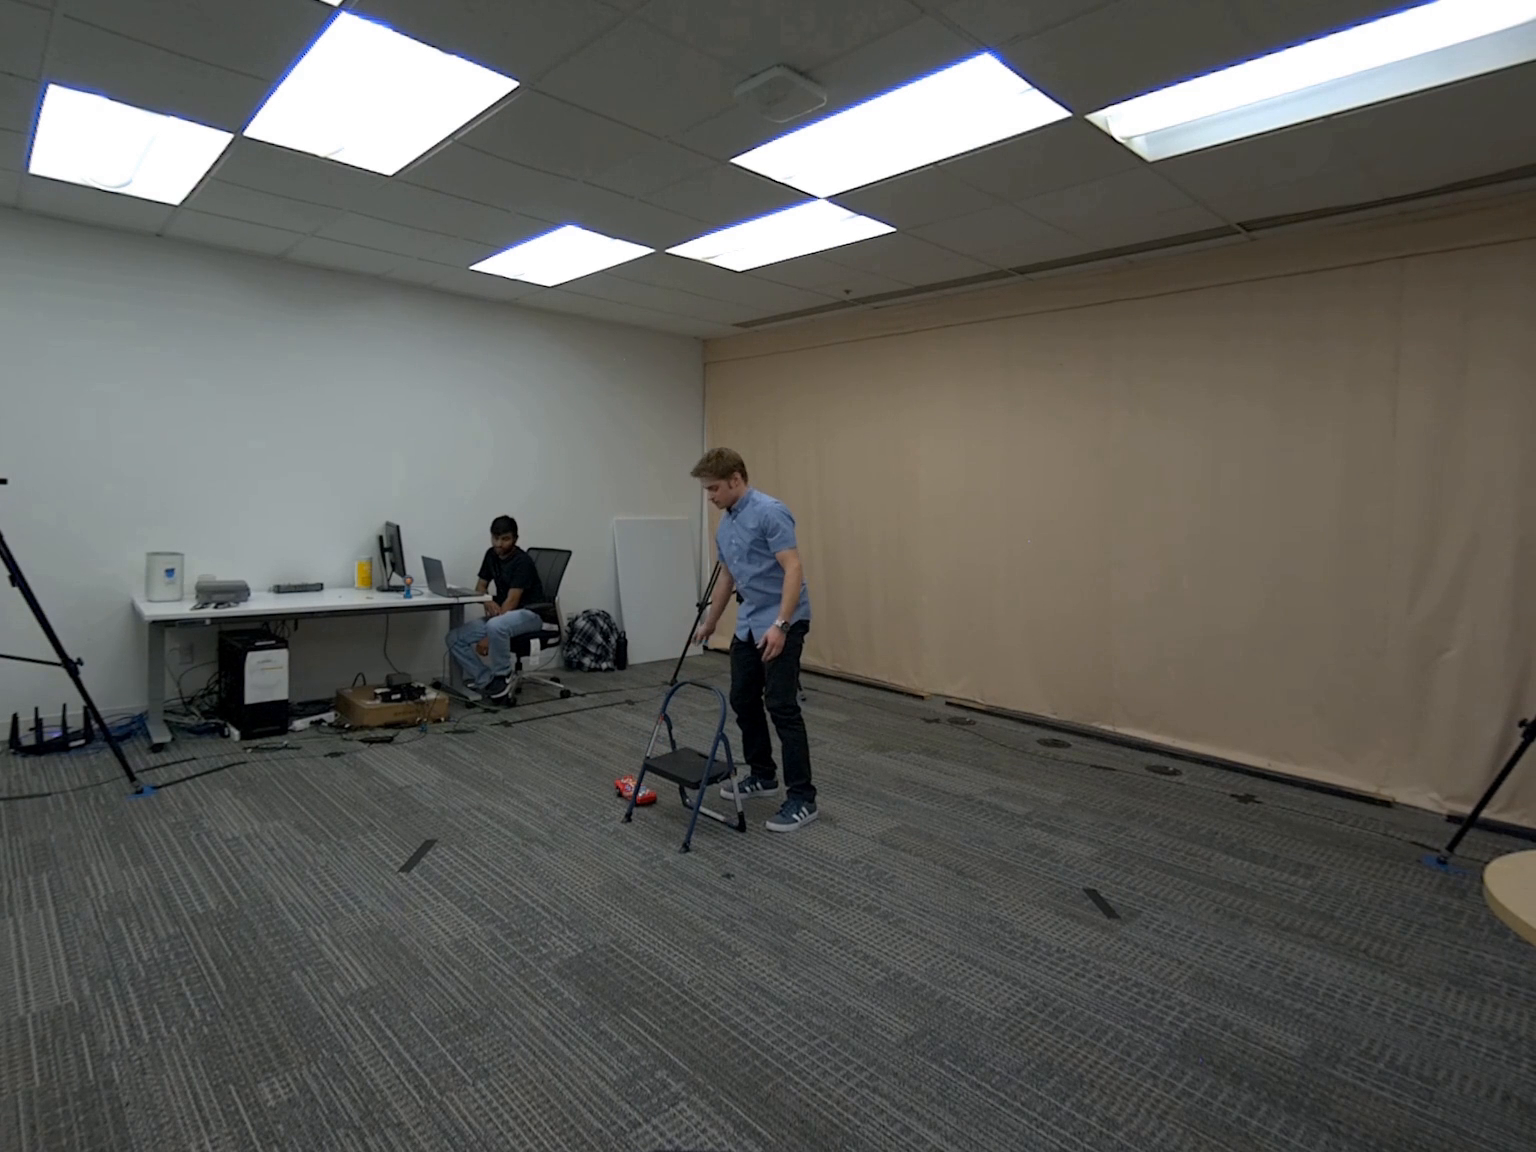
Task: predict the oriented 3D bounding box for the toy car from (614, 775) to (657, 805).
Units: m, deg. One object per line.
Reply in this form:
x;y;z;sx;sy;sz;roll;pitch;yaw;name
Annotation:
-0.625;0.990;3.890;0.127;0.082;0.262;-1;16;-36;toy car
